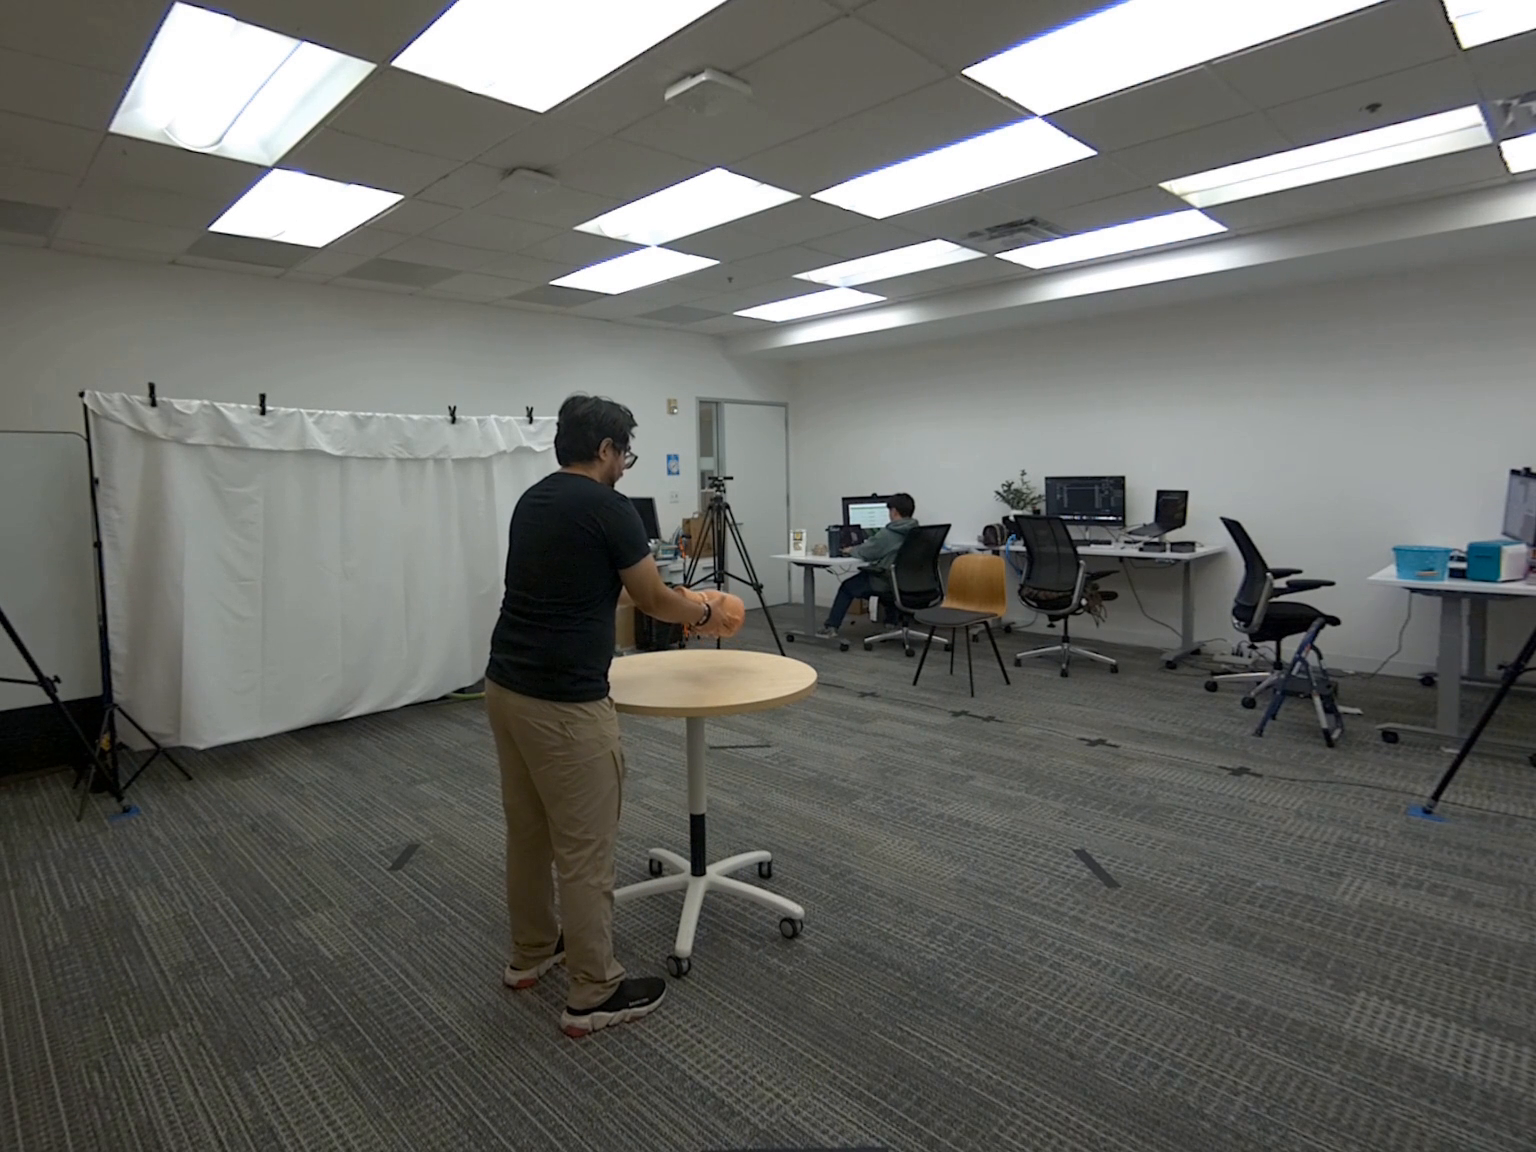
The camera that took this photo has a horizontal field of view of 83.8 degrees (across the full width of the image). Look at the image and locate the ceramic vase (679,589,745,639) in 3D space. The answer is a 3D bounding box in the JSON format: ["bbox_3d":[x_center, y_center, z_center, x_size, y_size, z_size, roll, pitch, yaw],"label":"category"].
[{"bbox_3d":[-0.189,0.100,2.645,0.212,0.138,0.160,17,-42,-39],"label":"ceramic vase"}]
